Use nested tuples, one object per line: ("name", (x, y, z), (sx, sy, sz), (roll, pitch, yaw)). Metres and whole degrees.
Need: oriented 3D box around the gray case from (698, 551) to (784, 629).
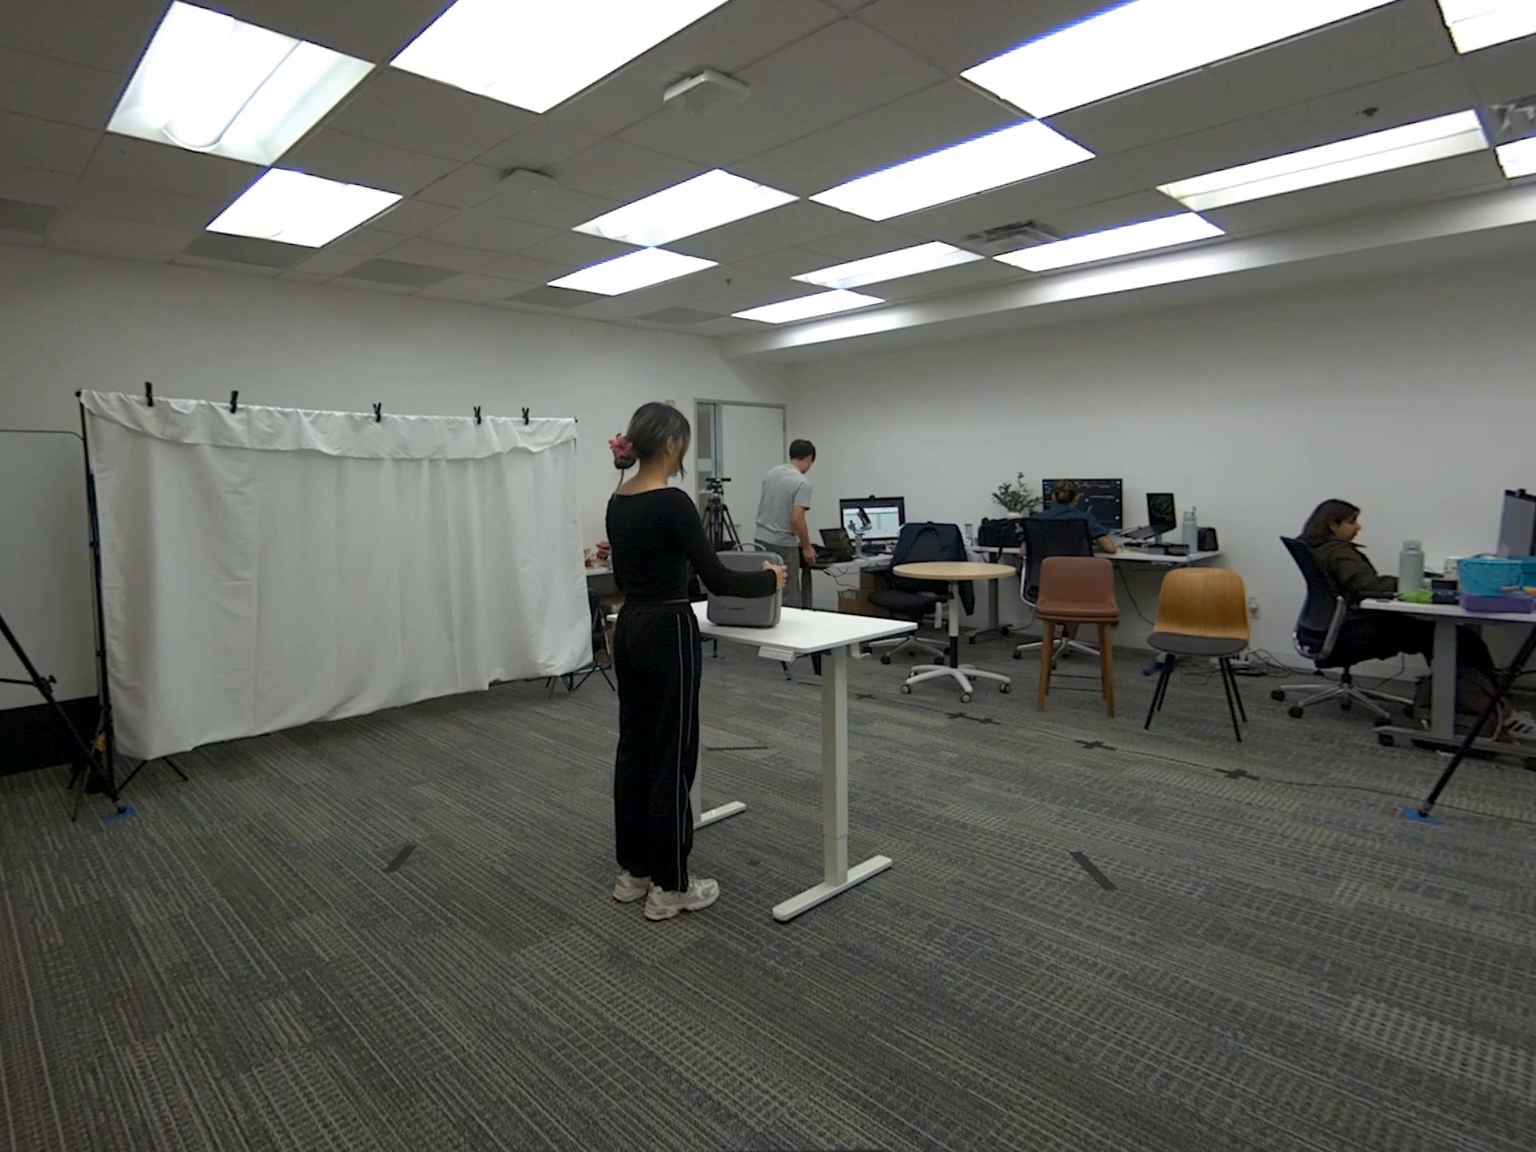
("gray case", (-0.081, 0.043, 2.984), (0.262, 0.262, 0.101), (1, -6, 23))
